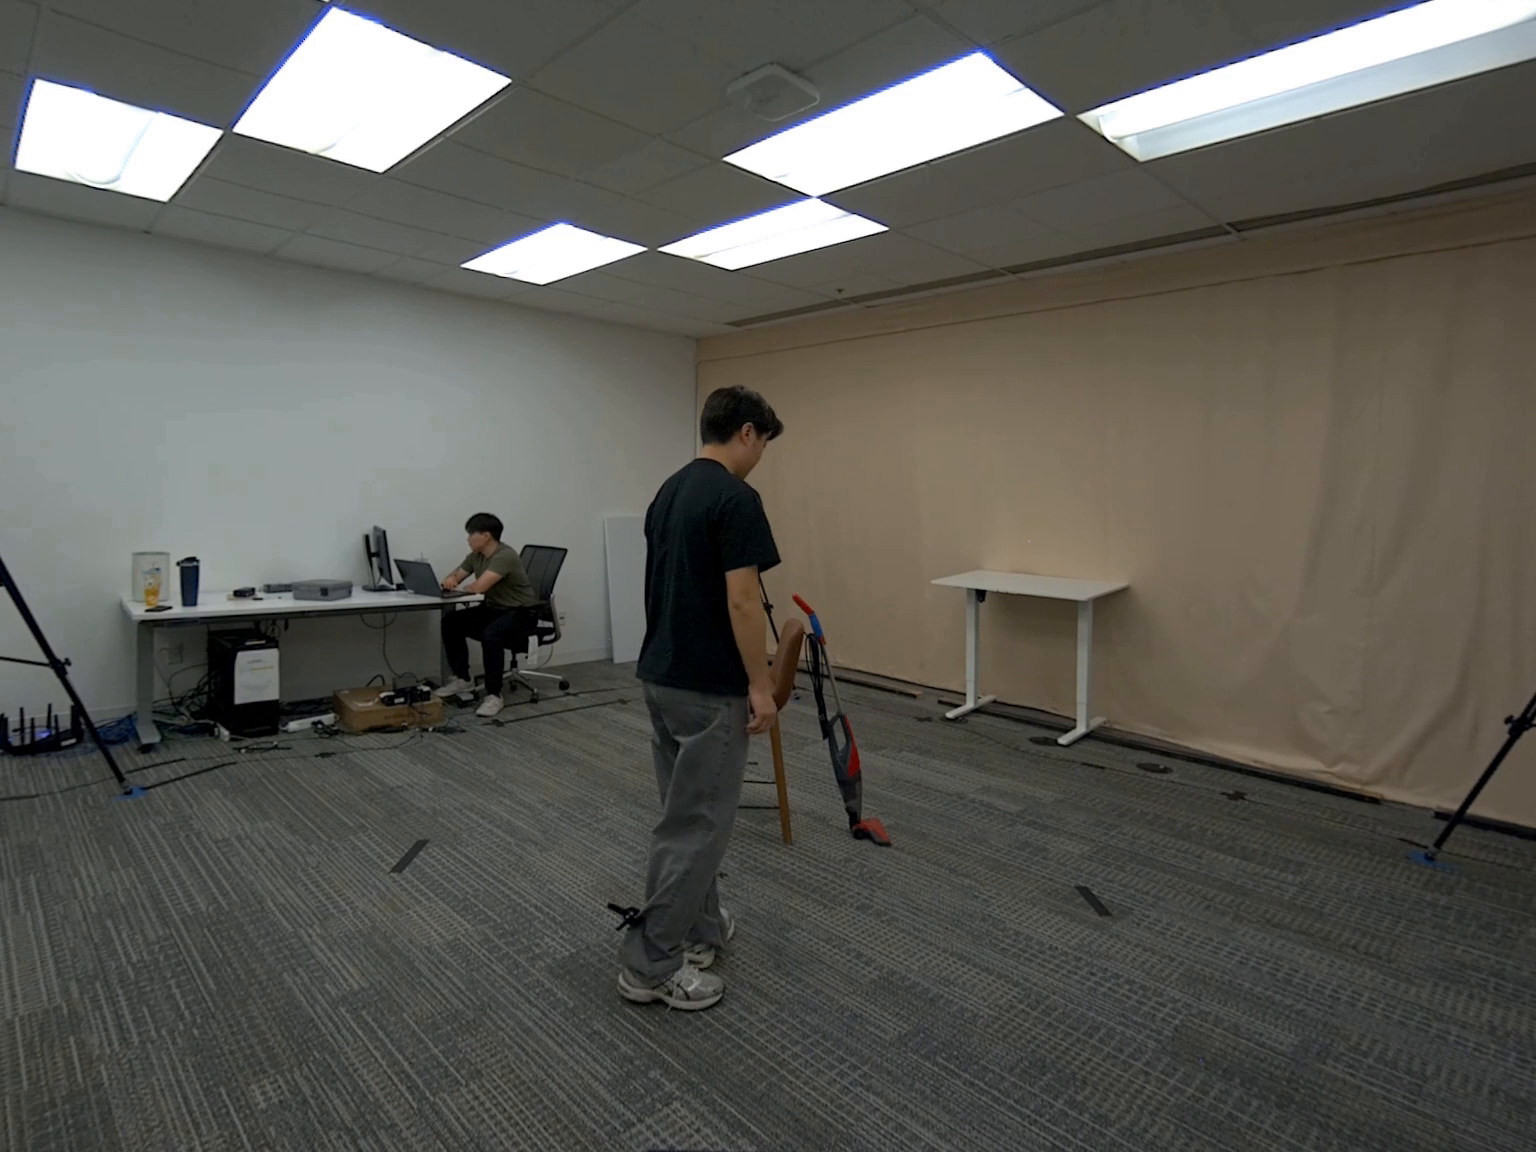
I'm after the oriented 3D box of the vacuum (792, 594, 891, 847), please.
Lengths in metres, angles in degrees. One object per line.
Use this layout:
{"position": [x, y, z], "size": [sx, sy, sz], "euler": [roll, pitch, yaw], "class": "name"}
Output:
{"position": [0.268, 0.578, 3.492], "size": [0.143, 1.045, 0.255], "euler": [-17, 5, -11], "class": "vacuum"}
